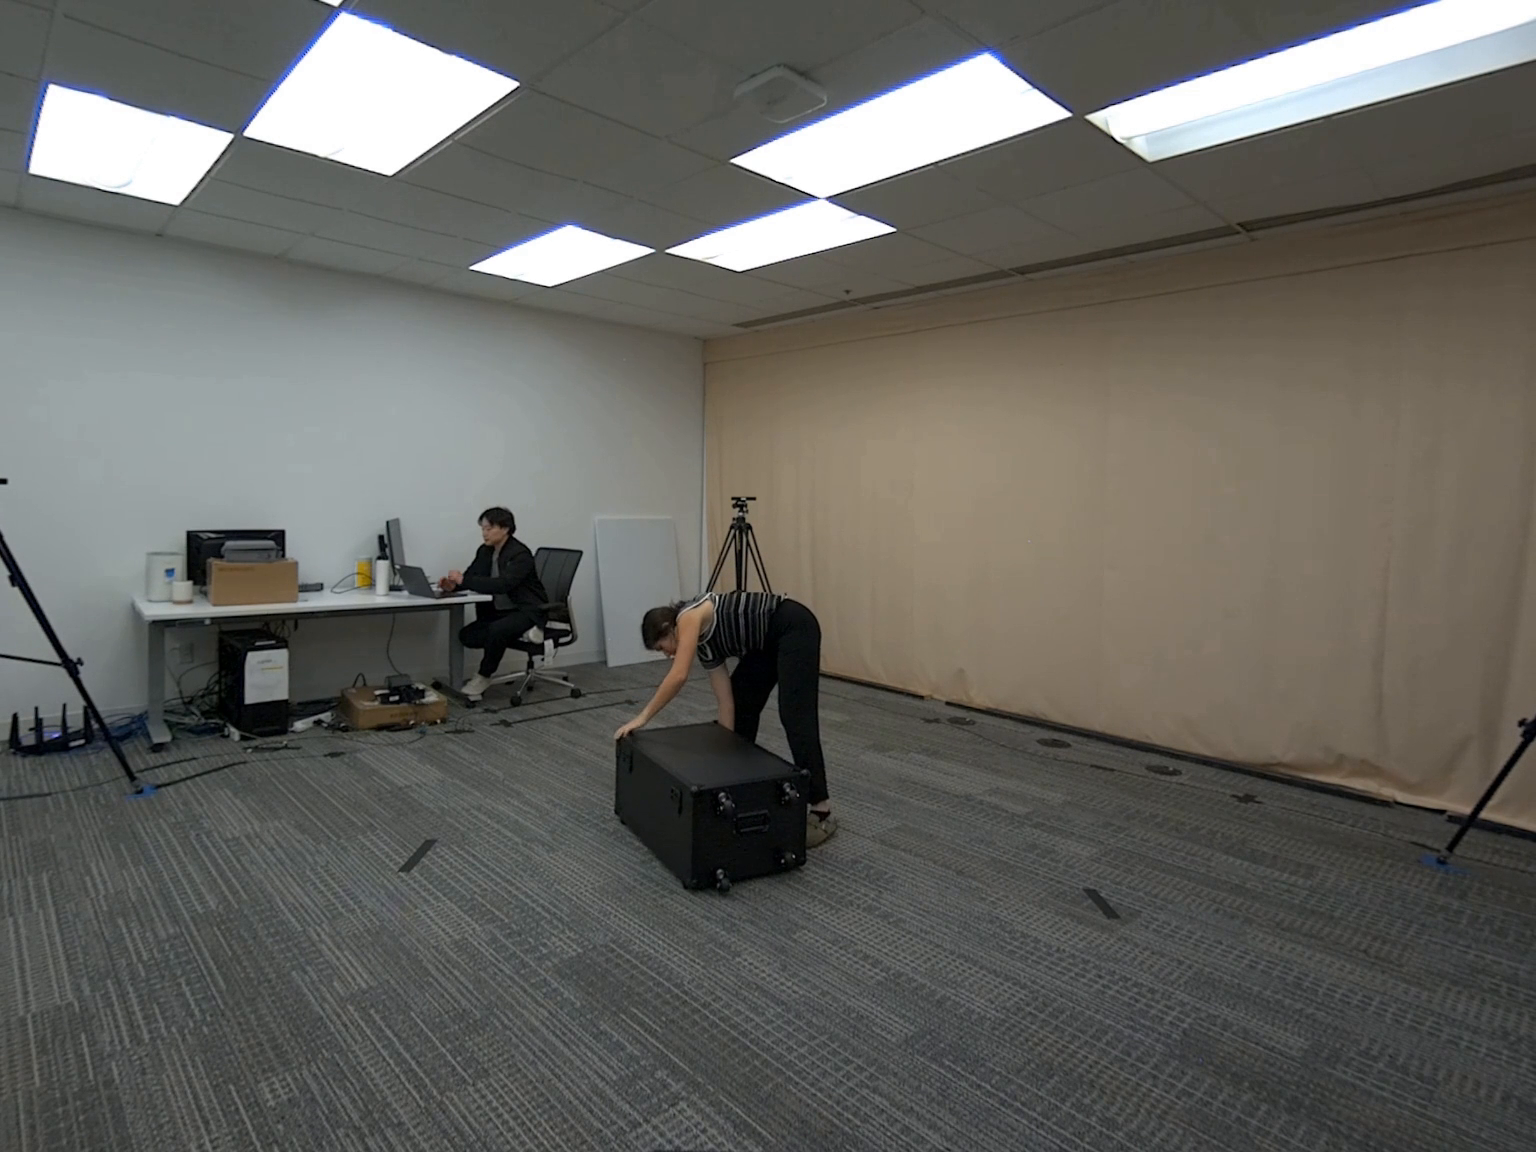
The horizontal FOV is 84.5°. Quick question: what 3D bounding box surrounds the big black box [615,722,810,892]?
[{"bbox_3d":[-0.247,0.890,3.352,0.511,0.395,0.881,-1,5,-30],"label":"big black box"}]
